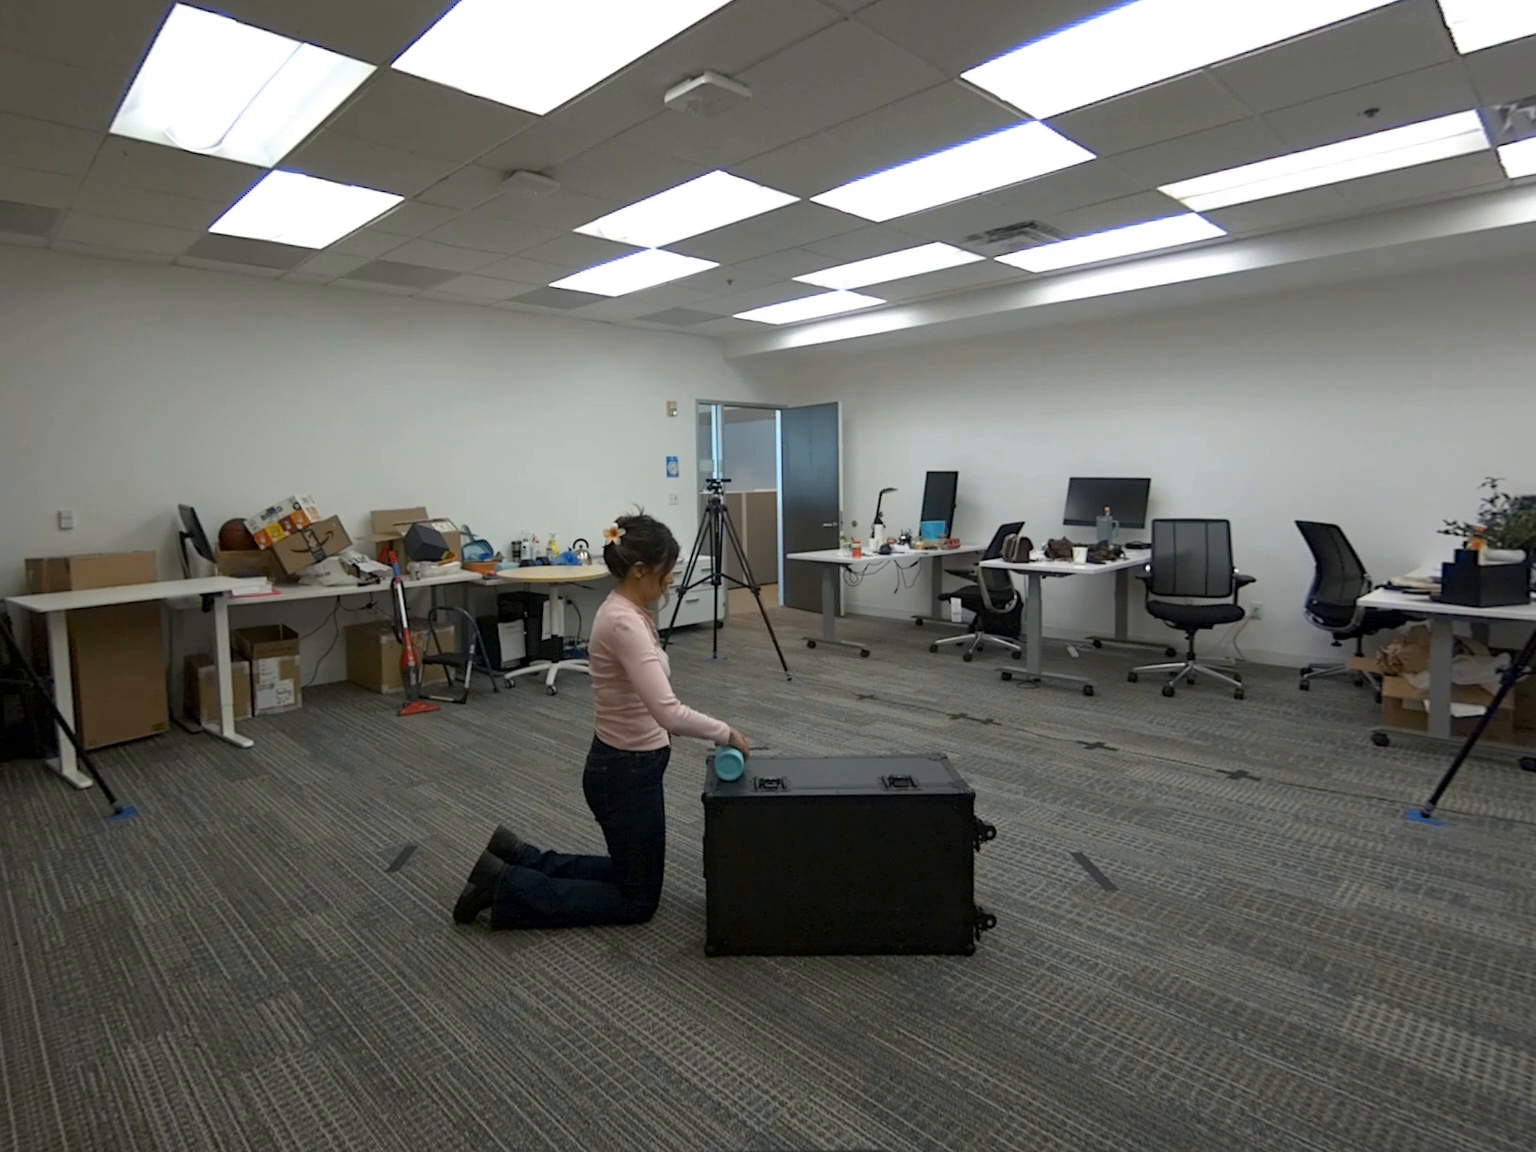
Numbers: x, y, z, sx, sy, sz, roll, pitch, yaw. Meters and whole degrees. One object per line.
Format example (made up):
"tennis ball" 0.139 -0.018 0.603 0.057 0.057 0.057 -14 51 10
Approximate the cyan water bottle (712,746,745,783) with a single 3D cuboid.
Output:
"cyan water bottle" -0.124 0.561 2.713 0.092 0.092 0.284 -1 3 -4
